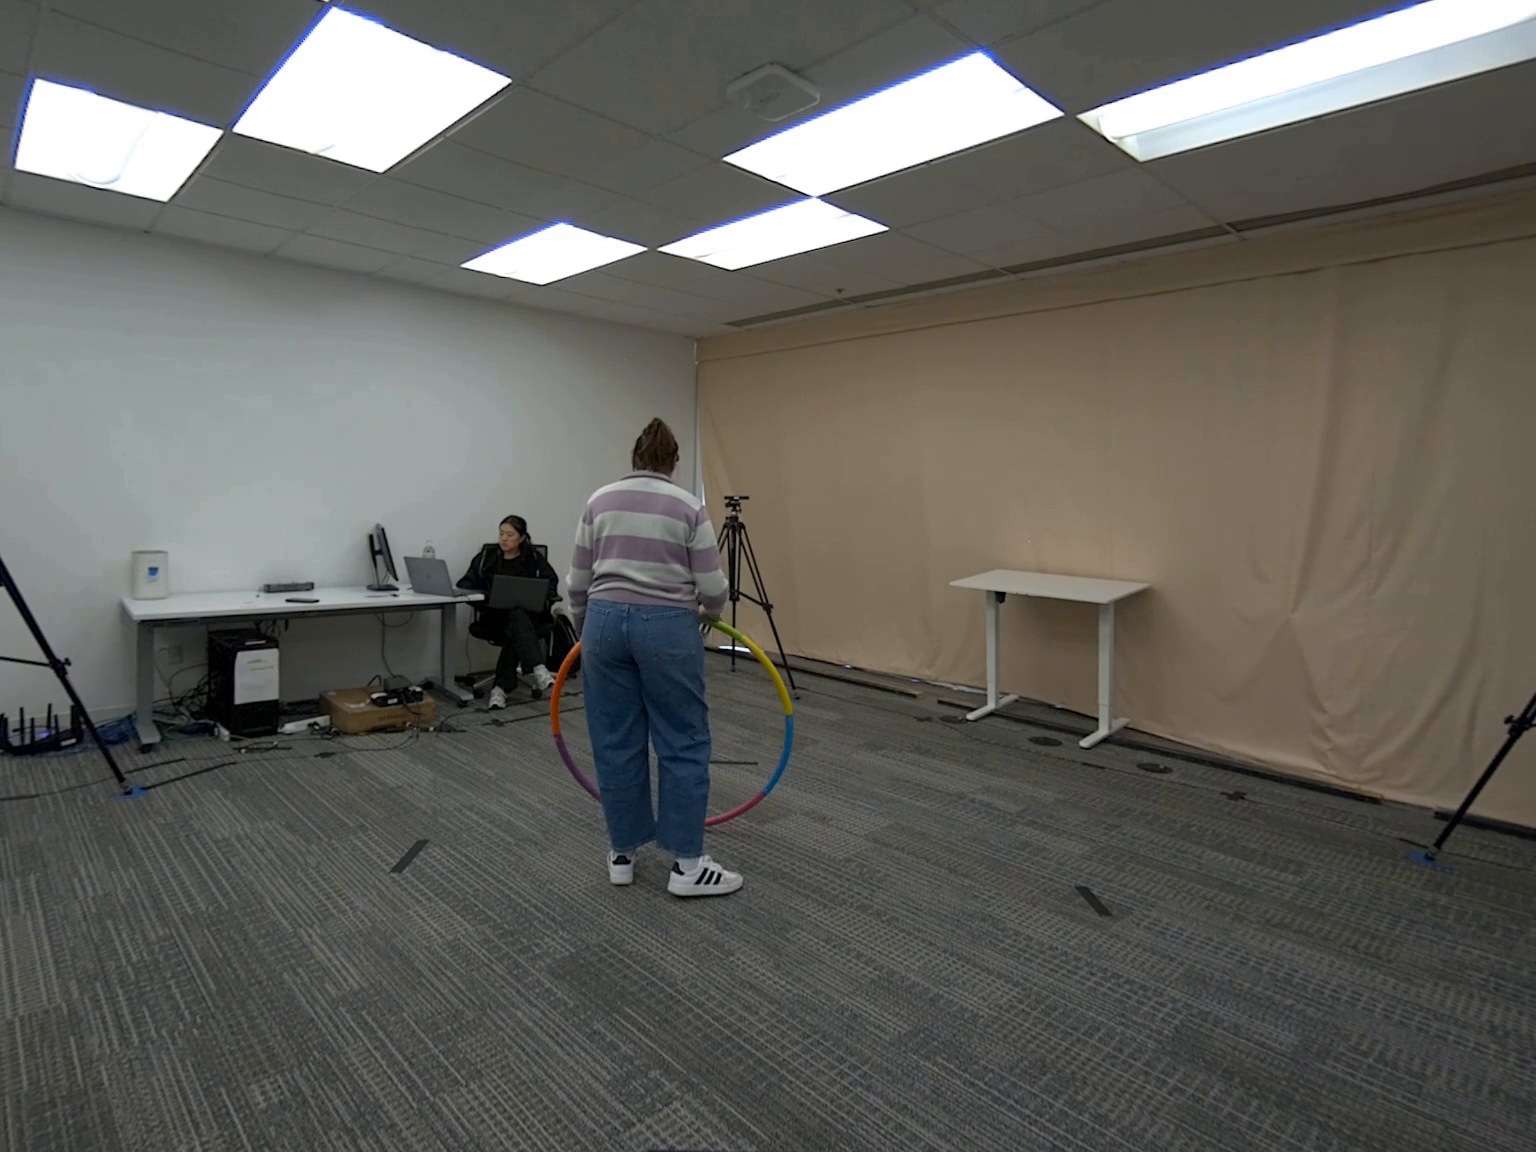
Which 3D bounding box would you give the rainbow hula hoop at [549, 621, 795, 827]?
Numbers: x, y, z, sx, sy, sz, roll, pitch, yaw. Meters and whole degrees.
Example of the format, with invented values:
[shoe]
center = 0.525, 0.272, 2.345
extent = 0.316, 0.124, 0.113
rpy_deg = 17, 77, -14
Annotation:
[rainbow hula hoop]
center = -0.398, 0.601, 3.411
extent = 0.991, 0.974, 0.052
rpy_deg = 2, 16, 7
